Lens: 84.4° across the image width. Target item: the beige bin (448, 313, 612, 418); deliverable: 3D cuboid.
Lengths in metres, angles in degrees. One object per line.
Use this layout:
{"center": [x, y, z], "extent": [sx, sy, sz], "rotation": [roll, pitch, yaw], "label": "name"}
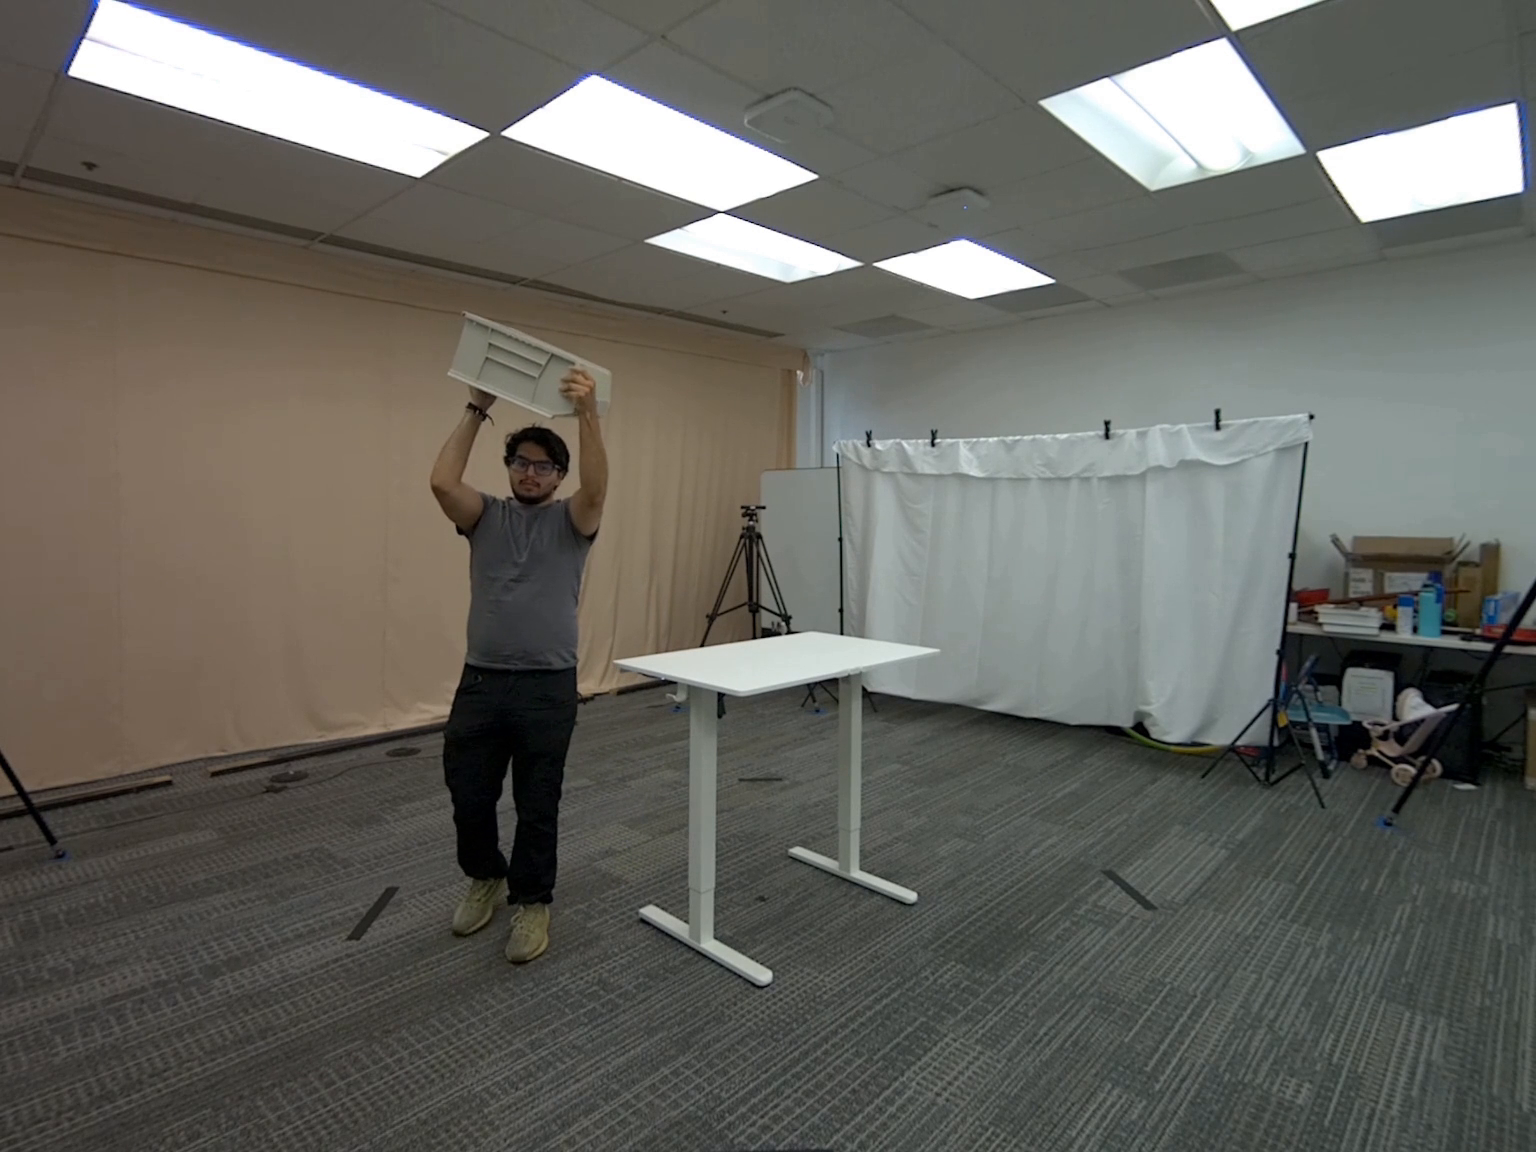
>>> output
{"center": [-0.683, -0.600, 2.493], "extent": [0.376, 0.188, 0.424], "rotation": [23, 10, -3], "label": "beige bin"}
